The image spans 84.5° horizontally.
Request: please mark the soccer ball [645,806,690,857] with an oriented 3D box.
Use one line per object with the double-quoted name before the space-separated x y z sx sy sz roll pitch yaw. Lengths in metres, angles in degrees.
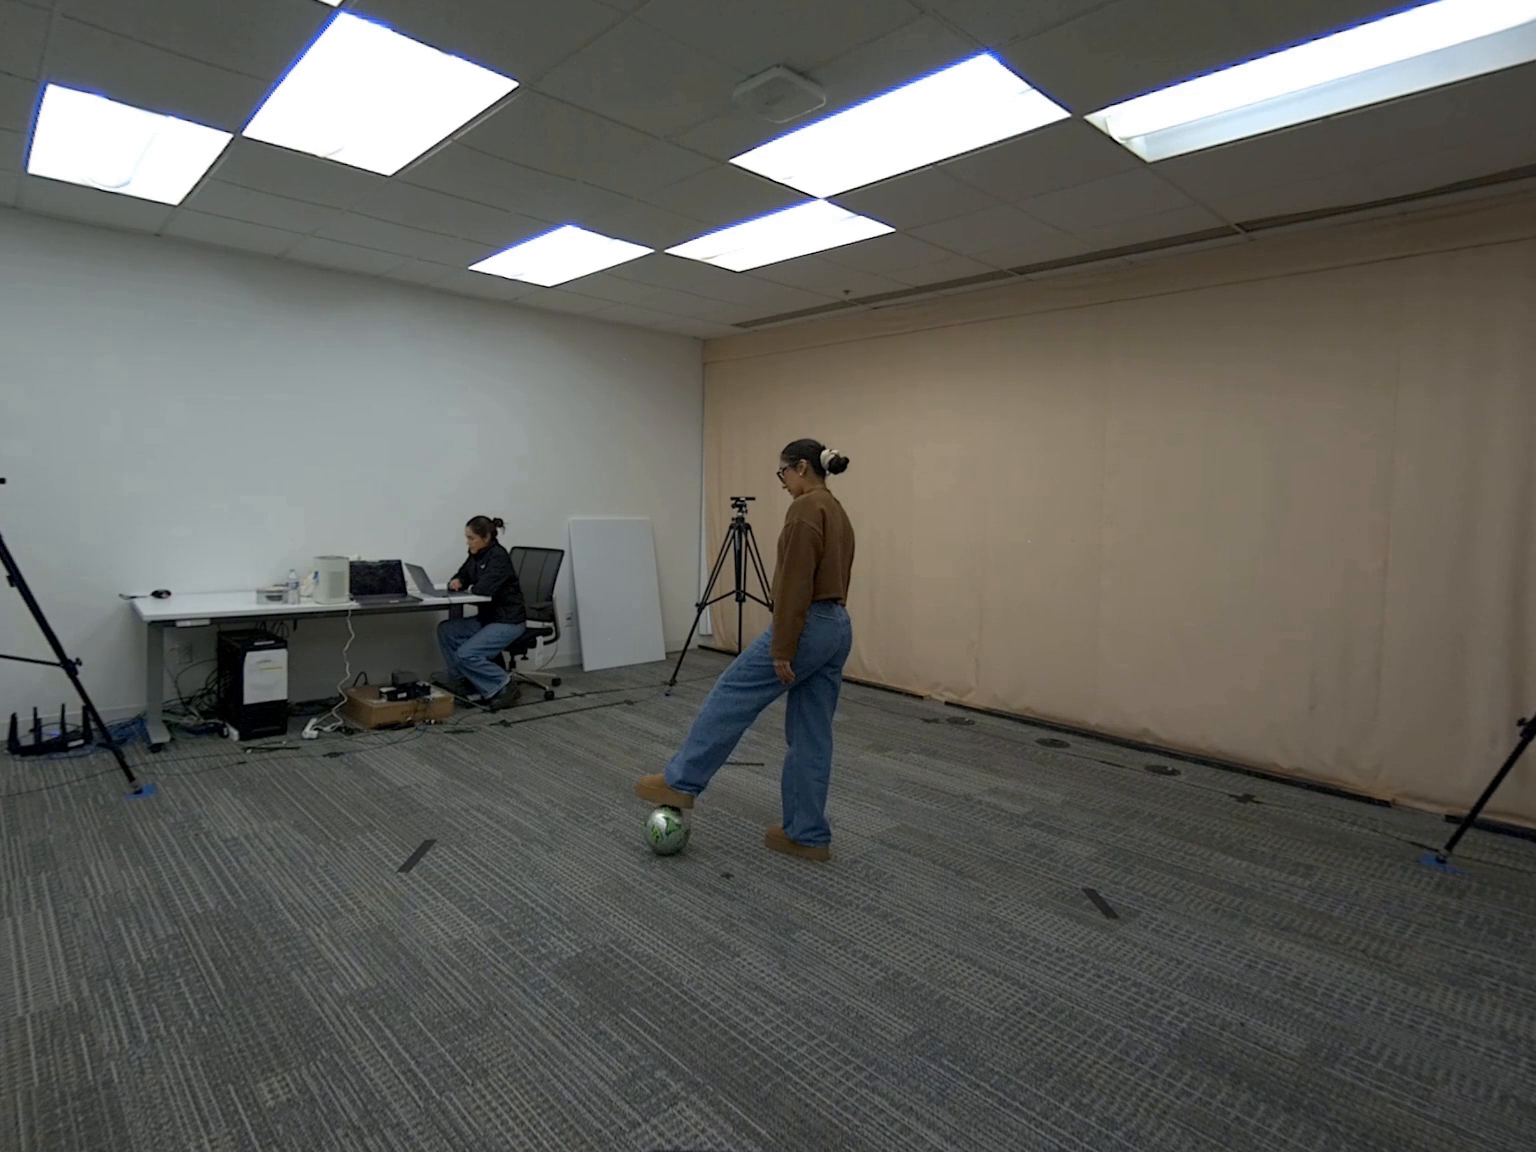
"soccer ball" -0.401 0.989 3.289 0.187 0.187 0.188 1 4 -1
